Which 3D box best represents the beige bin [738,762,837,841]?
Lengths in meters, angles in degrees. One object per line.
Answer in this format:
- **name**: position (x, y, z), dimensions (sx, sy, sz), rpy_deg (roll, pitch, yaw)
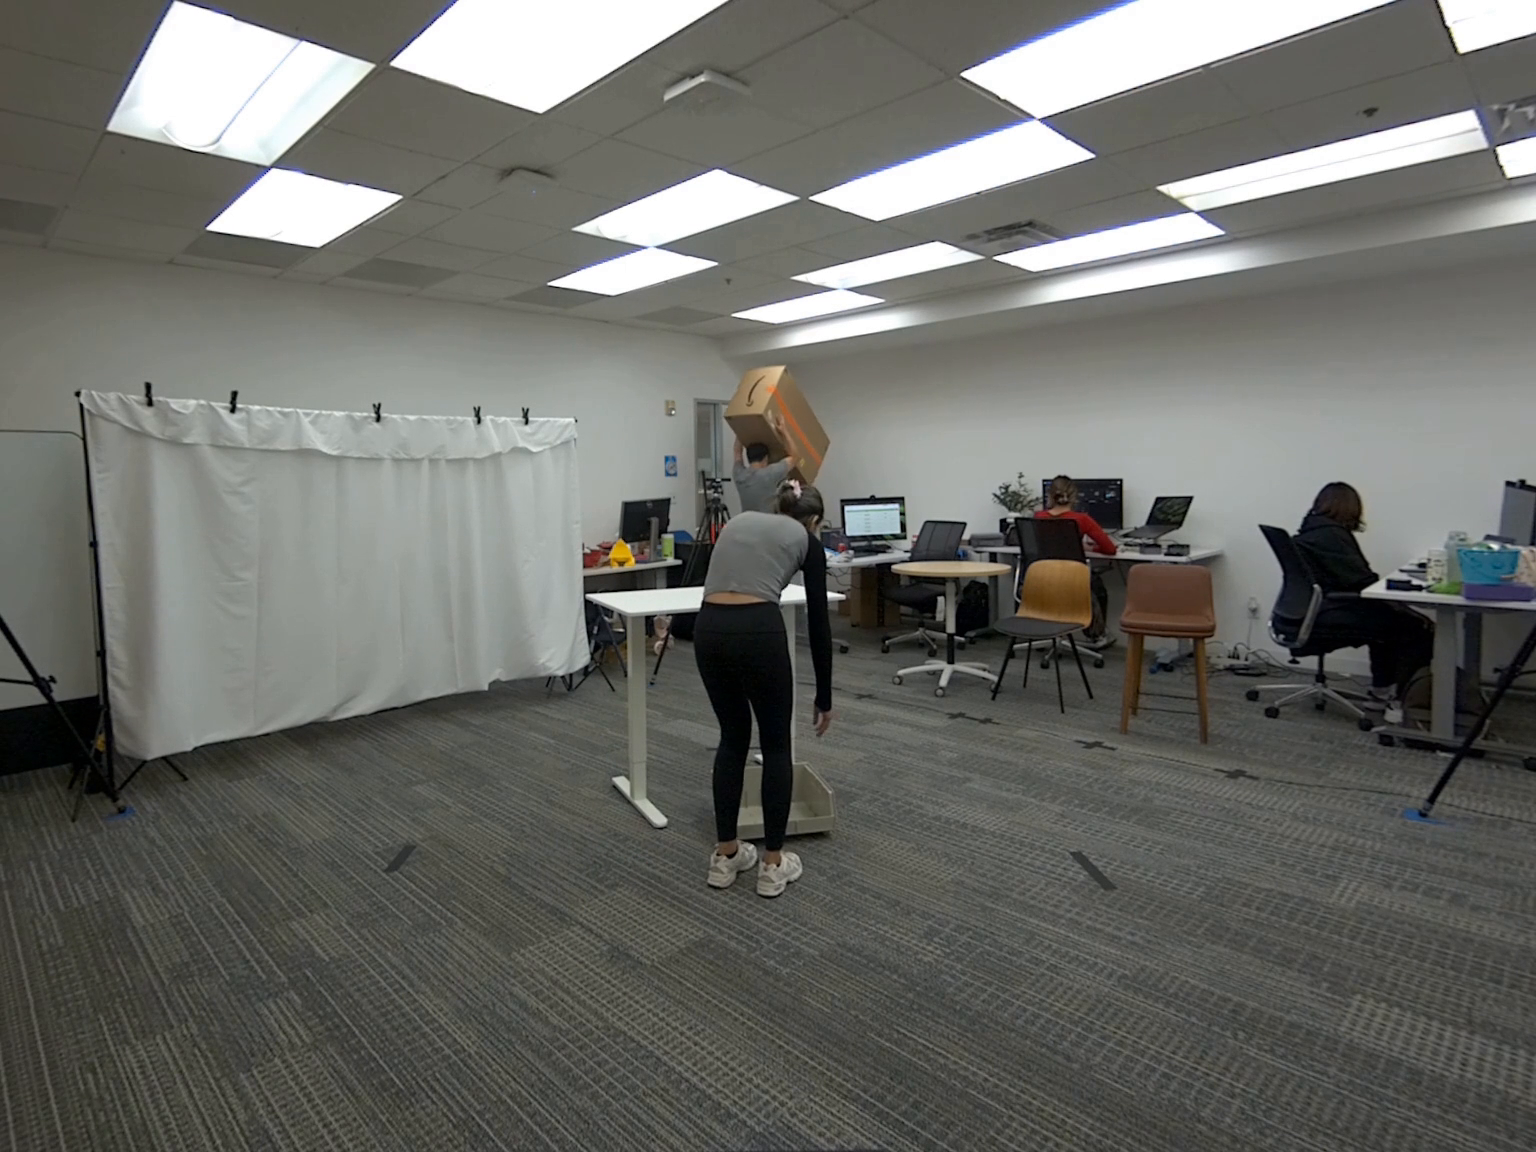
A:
- **beige bin**: position (0.017, 0.913, 3.436), dimensions (0.417, 0.188, 0.383), rpy_deg (-4, 6, -14)
